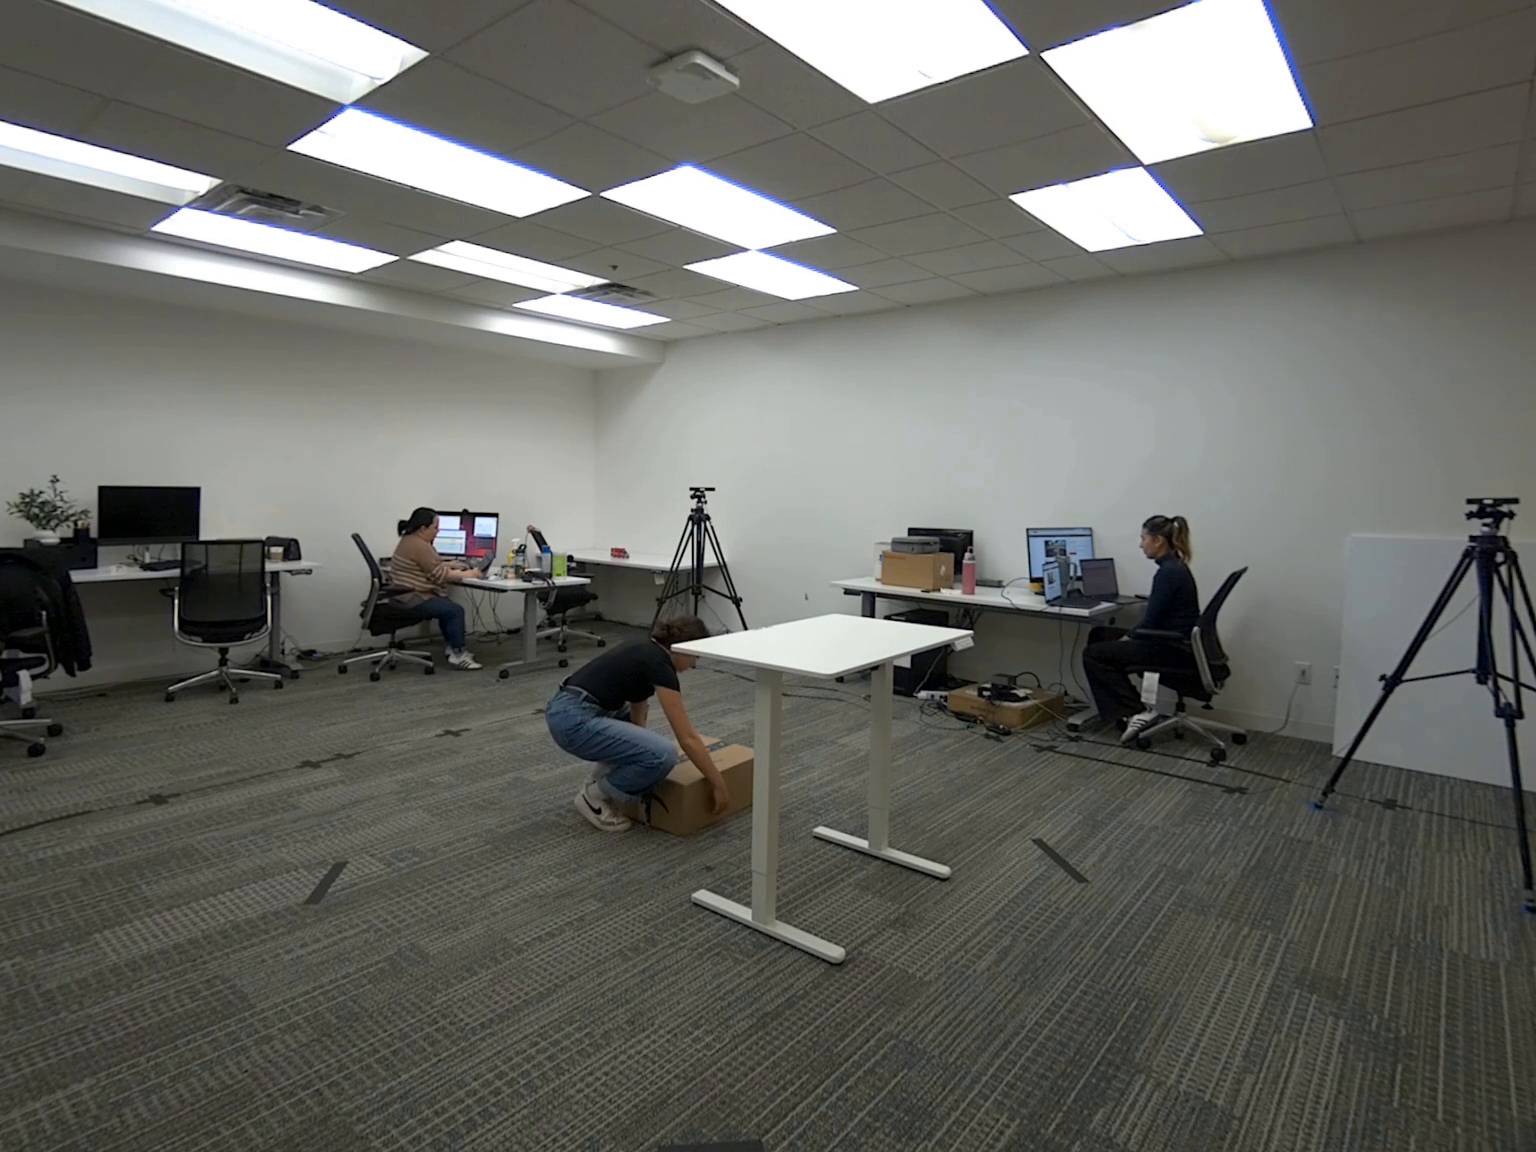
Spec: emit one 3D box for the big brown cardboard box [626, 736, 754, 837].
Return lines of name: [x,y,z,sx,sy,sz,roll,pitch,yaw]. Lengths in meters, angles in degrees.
big brown cardboard box: [-0.349,0.894,3.717,0.432,0.232,0.572,6,7,37]
